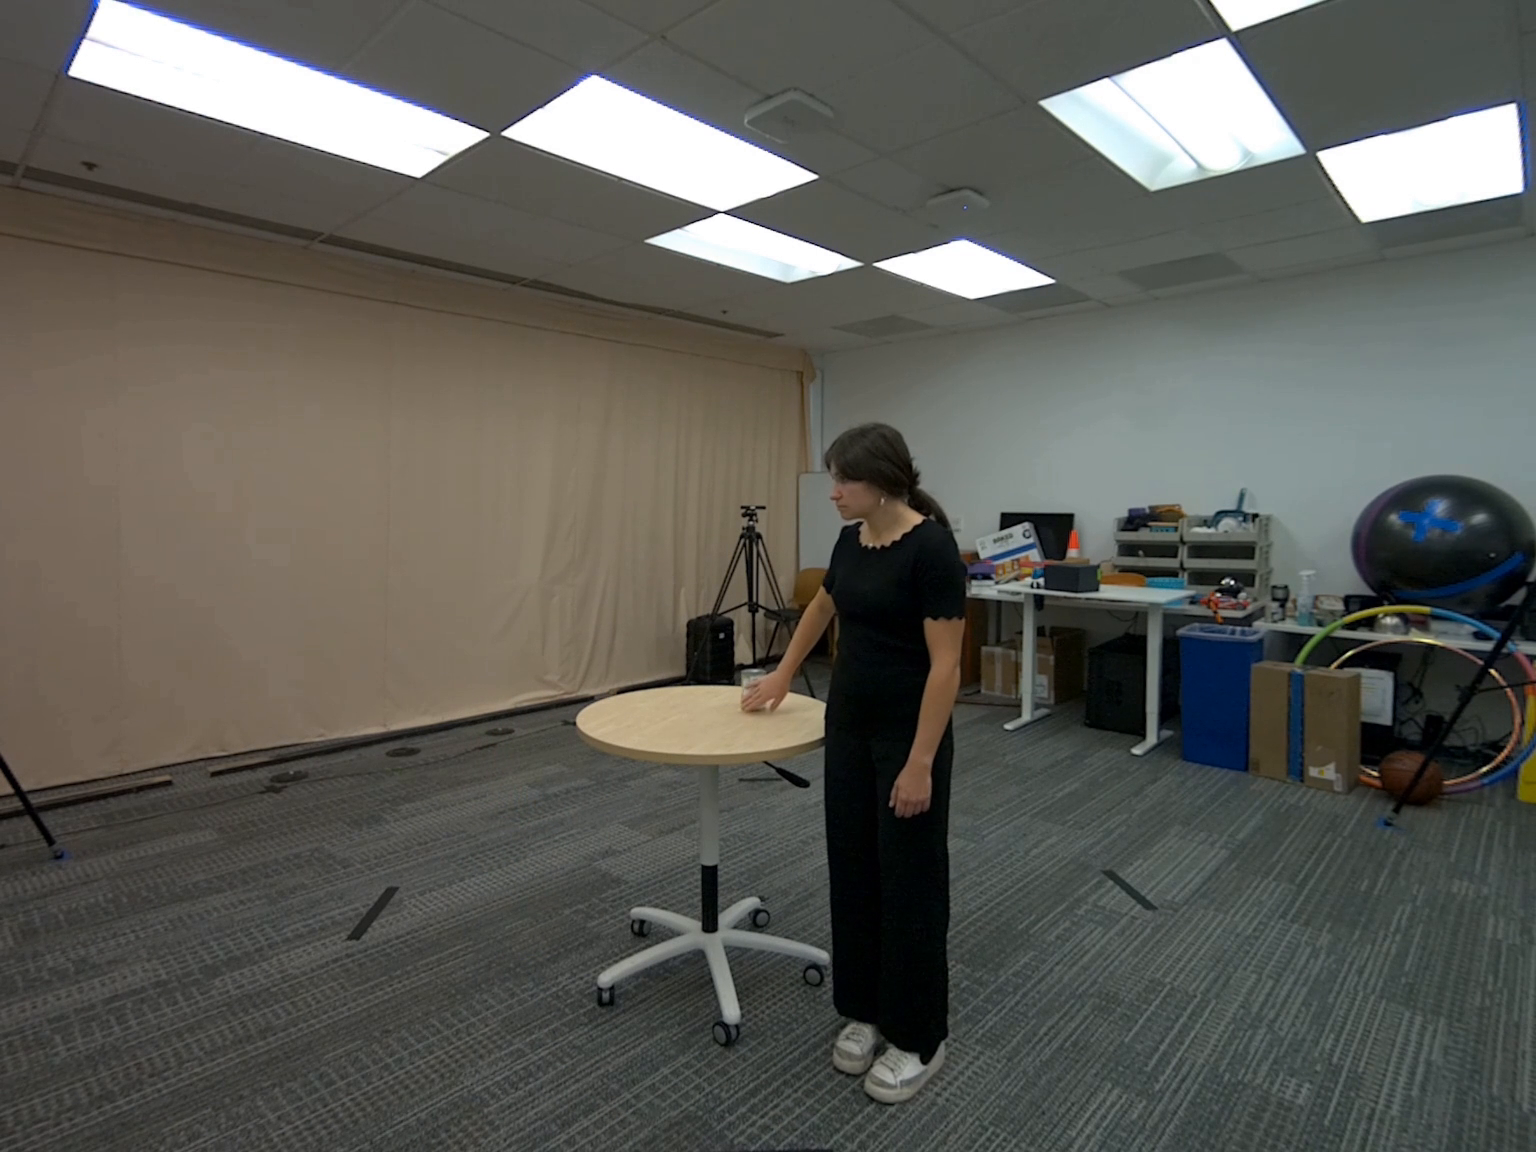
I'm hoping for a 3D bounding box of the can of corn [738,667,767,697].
[{"bbox_3d":[-0.038,0.344,2.513,0.074,0.110,0.074,-1,6,-2],"label":"can of corn"}]
